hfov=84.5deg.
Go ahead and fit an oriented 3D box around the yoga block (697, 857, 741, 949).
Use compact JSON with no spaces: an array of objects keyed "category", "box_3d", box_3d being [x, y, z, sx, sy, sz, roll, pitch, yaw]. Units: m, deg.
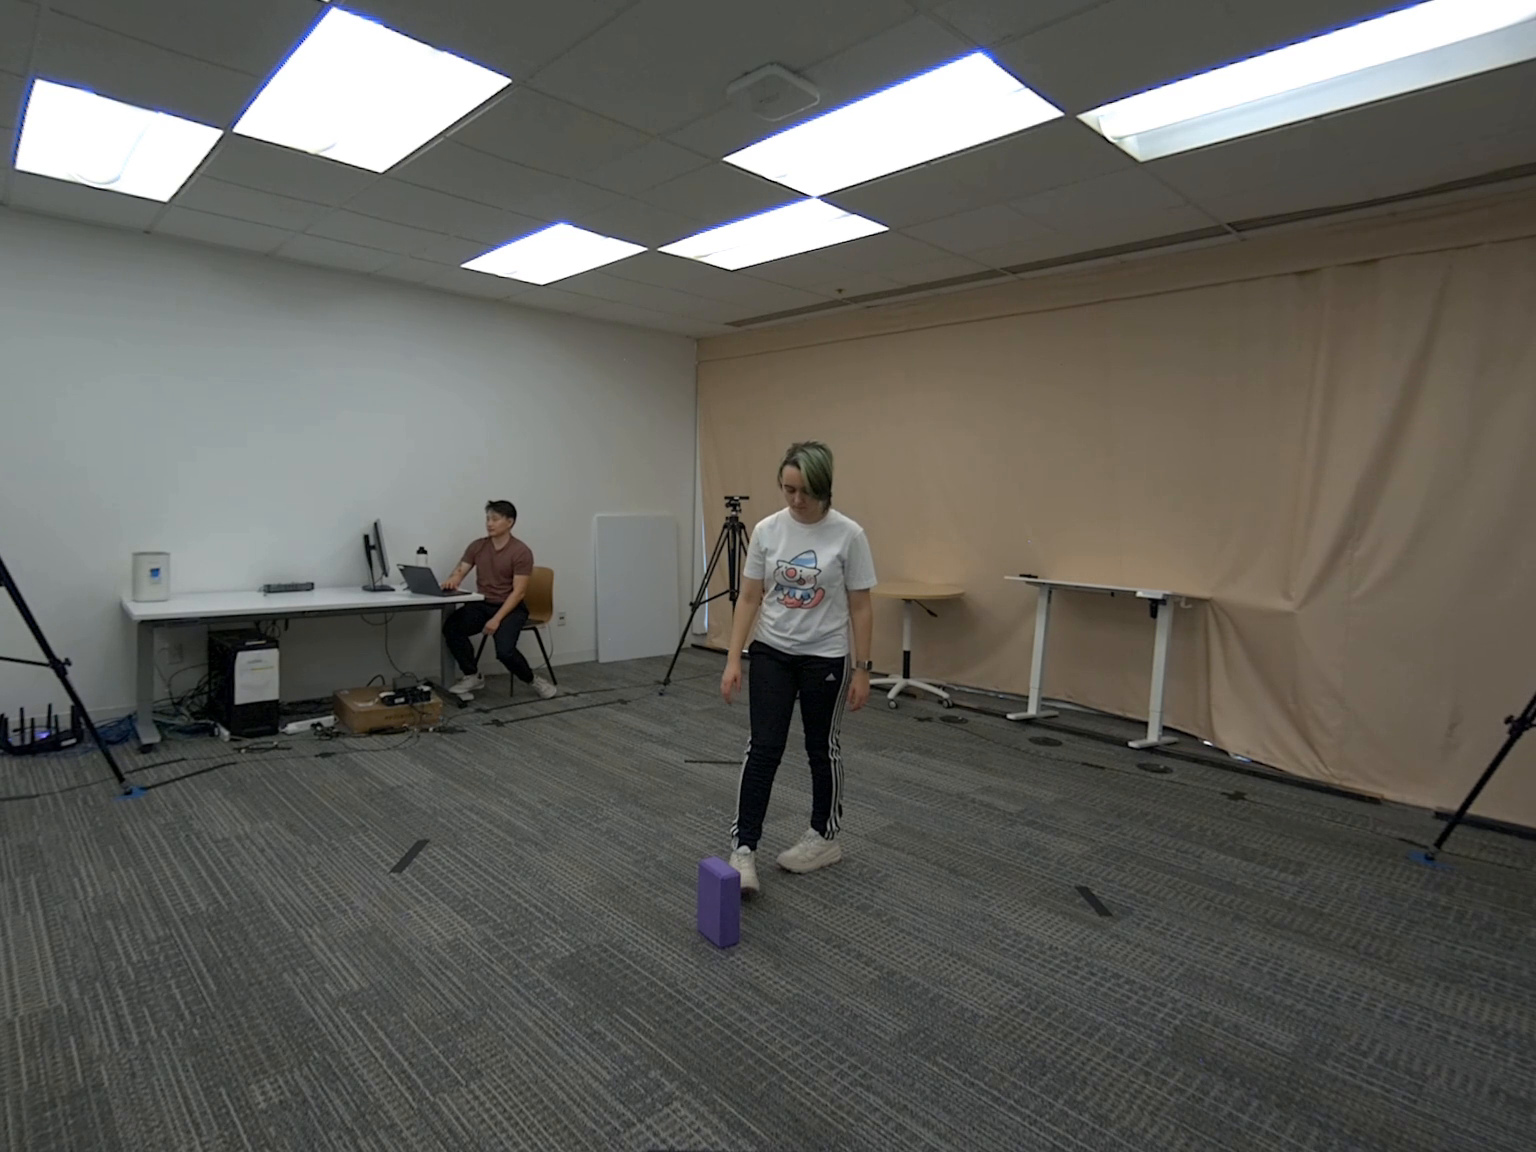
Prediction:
[{"category":"yoga block","box_3d":[-0.161,1.029,2.652,0.075,0.229,0.152,0,4,-34]}]
